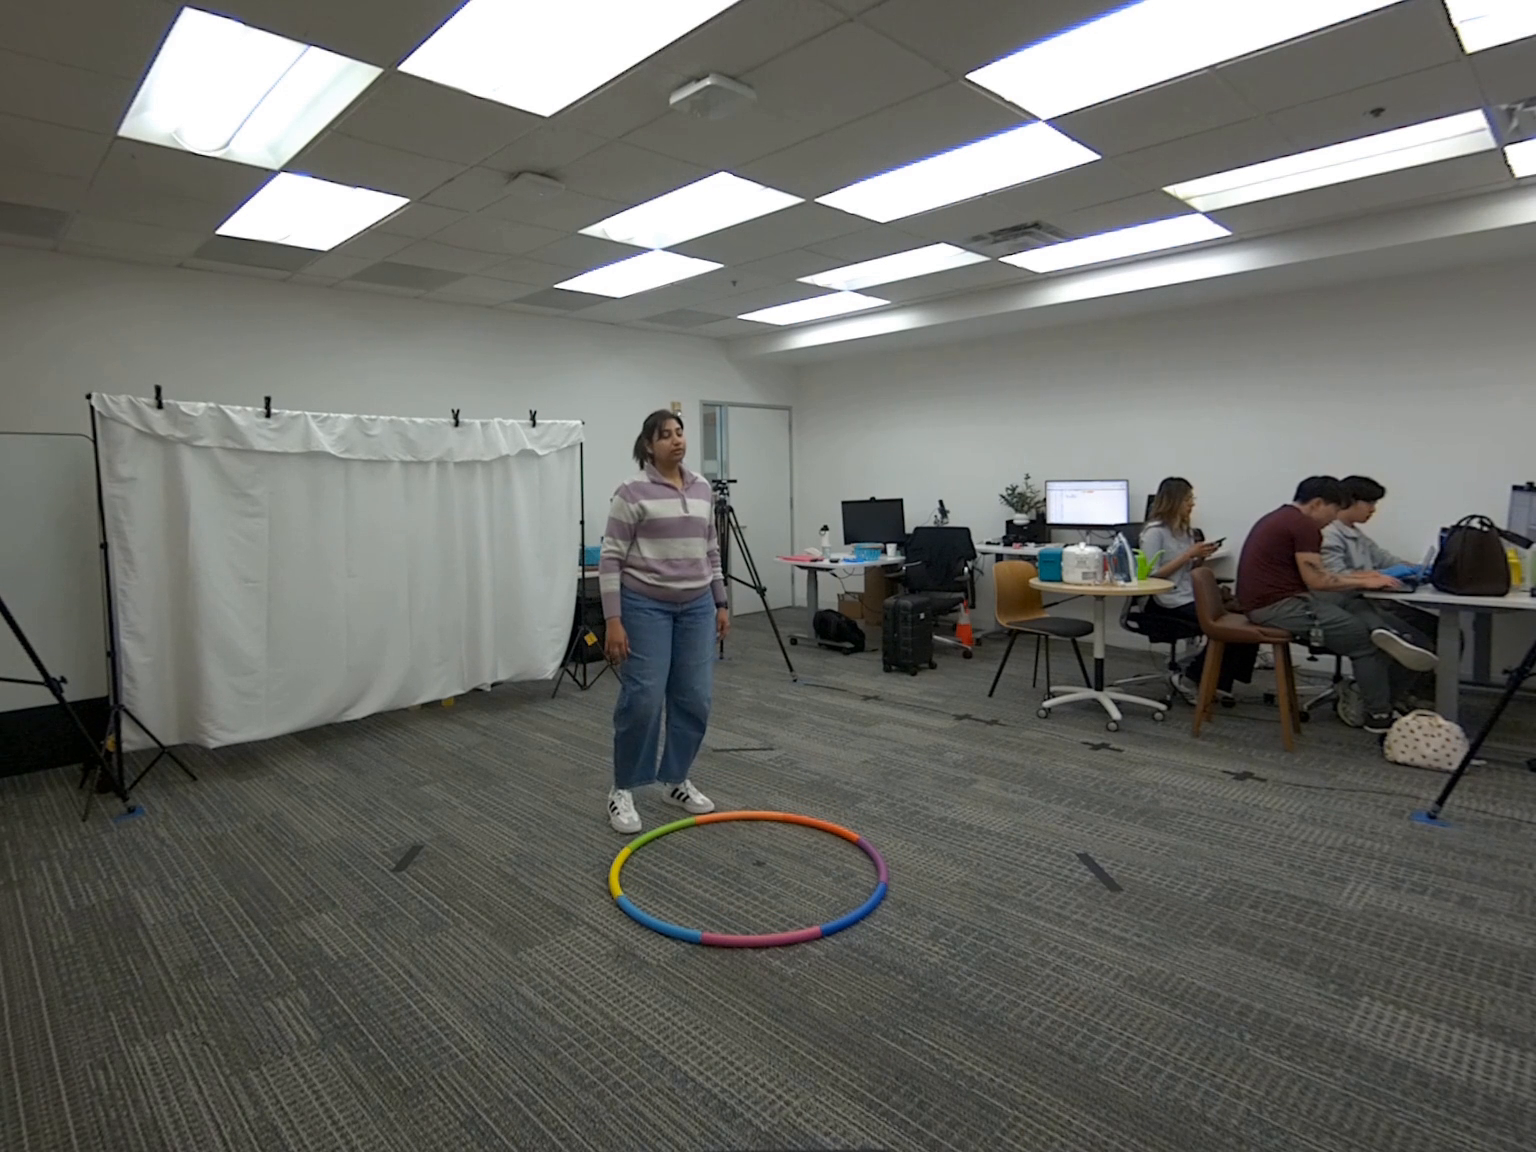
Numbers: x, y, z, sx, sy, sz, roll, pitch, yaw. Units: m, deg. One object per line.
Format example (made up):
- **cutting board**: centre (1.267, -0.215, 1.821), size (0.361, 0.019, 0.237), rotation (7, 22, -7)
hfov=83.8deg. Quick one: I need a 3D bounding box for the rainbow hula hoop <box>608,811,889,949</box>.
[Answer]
- **rainbow hula hoop**: centre (-0.074, 1.029, 3.034), size (0.985, 0.051, 0.990), rotation (-1, 6, -2)
